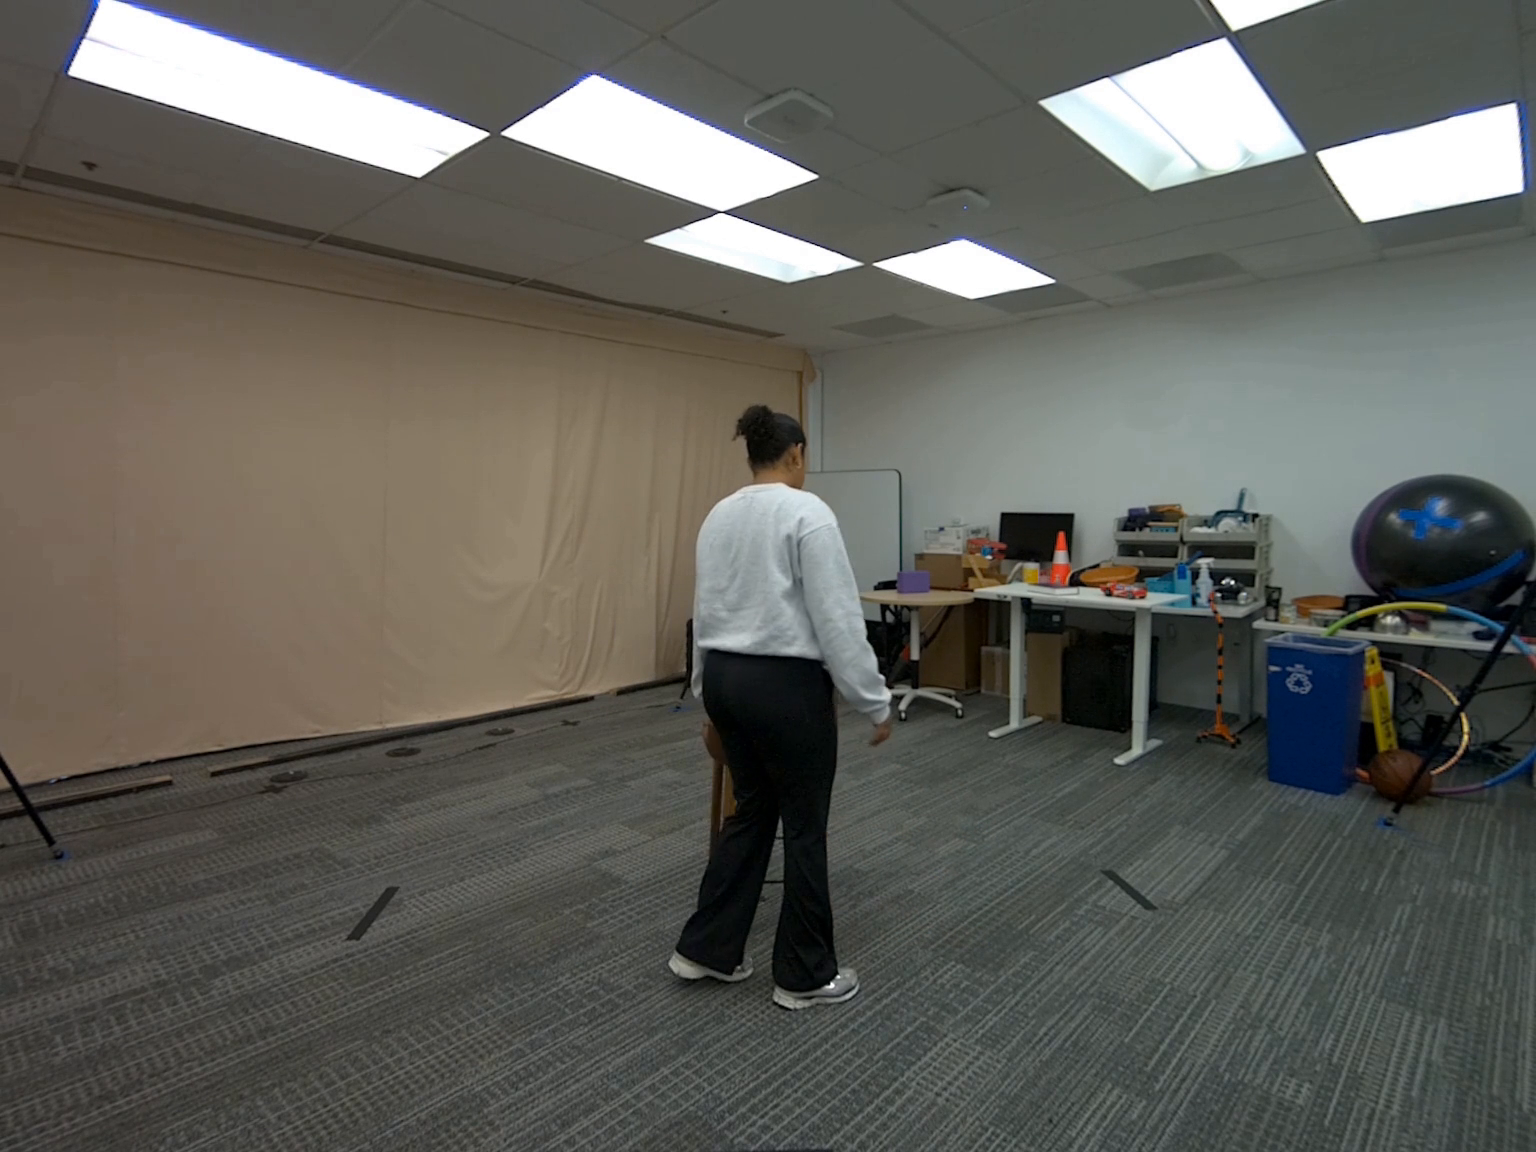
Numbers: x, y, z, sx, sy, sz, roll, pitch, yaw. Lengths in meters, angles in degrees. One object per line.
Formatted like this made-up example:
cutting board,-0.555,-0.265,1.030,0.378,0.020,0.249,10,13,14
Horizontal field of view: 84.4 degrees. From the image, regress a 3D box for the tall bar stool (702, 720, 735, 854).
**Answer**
tall bar stool,-0.003,0.711,2.951,0.455,0.887,0.470,0,5,-3
